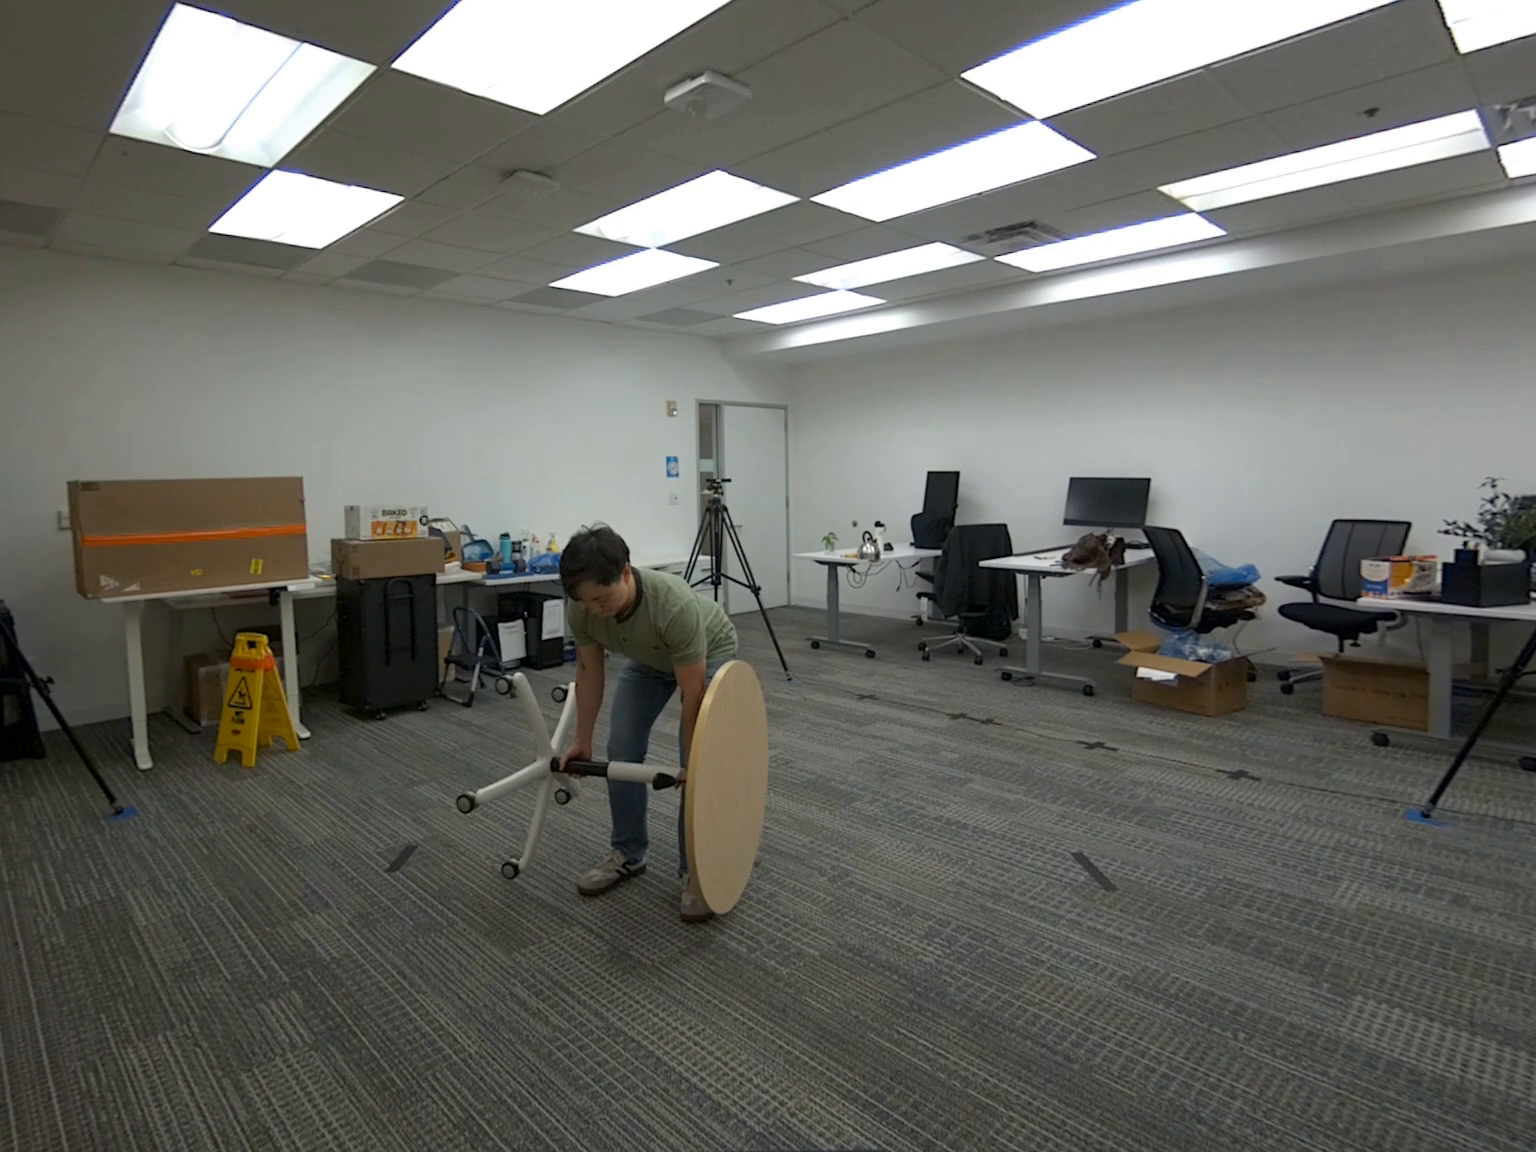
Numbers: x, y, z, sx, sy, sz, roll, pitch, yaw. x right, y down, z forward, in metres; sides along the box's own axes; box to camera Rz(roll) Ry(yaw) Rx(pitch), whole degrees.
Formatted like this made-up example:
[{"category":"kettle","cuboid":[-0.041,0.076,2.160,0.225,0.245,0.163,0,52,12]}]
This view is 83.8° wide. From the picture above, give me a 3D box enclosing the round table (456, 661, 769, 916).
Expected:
[{"category":"round table","cuboid":[-0.484,0.655,2.833,0.808,0.761,0.754,0,5,17]}]
